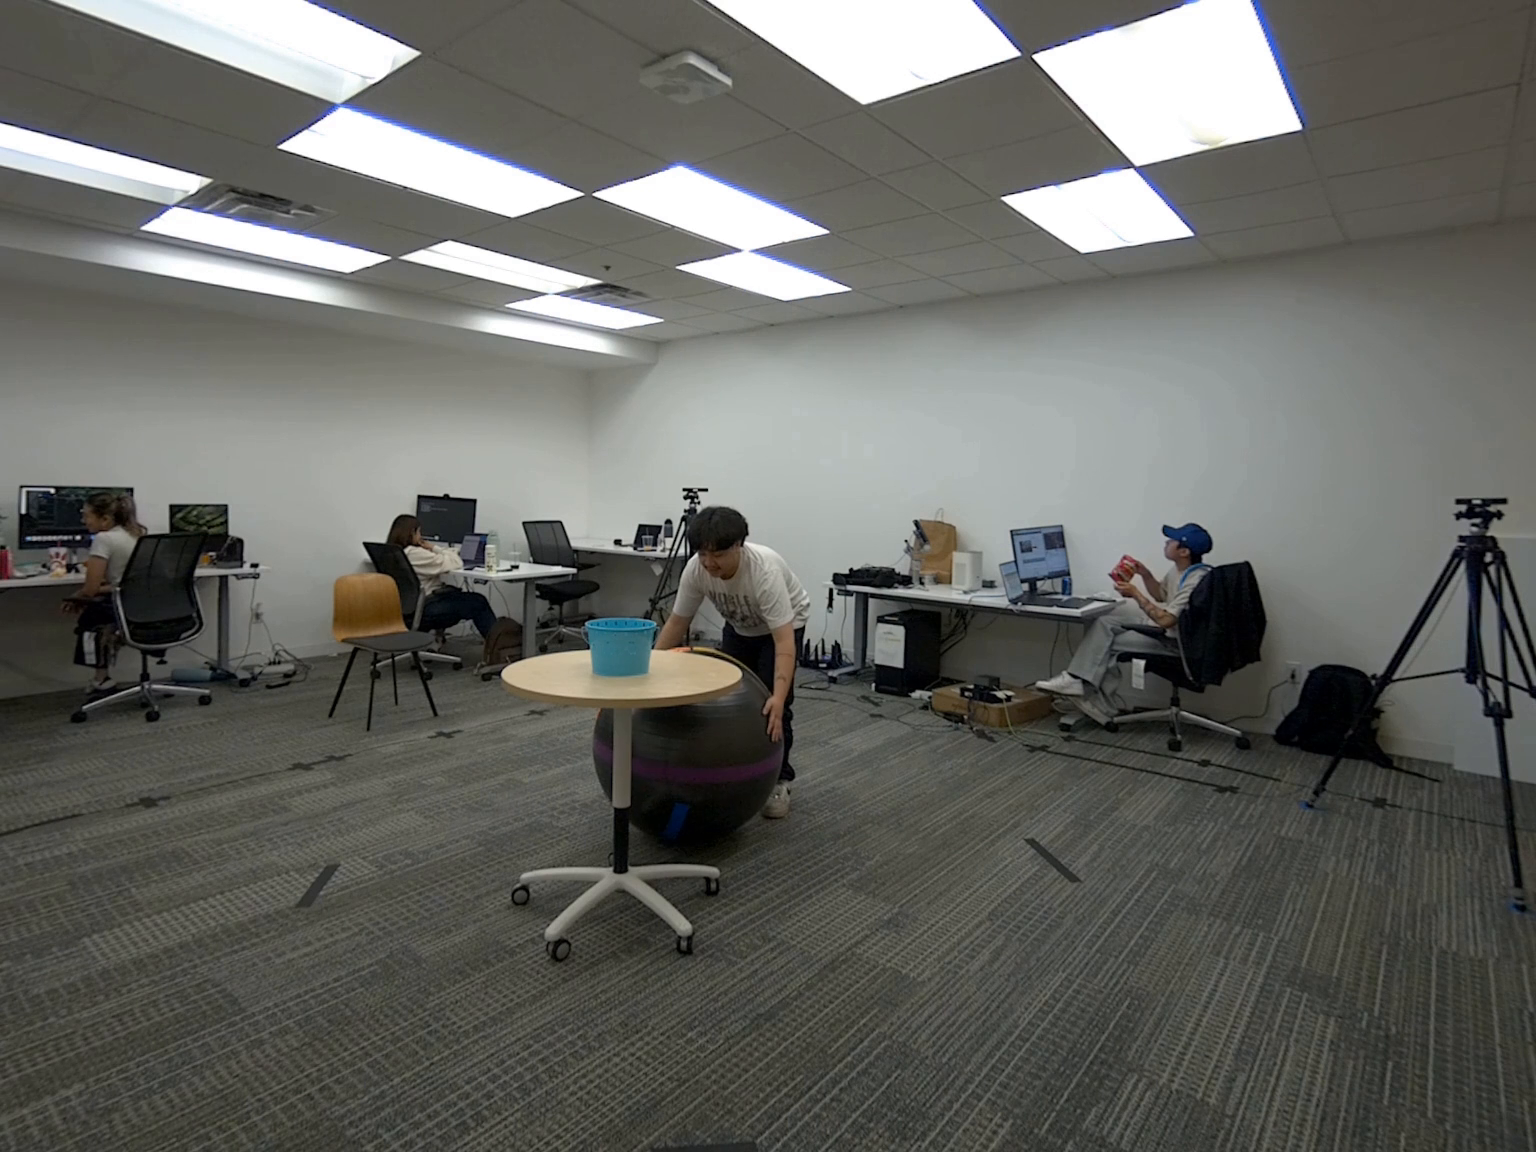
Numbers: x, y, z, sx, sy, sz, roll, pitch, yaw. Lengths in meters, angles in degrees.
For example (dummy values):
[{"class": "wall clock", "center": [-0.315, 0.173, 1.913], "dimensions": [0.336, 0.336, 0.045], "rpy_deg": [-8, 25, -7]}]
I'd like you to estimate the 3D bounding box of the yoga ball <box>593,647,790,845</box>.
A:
[{"class": "yoga ball", "center": [-0.334, 0.675, 3.405], "dimensions": [0.757, 0.755, 0.762], "rpy_deg": [1, 4, -2]}]
